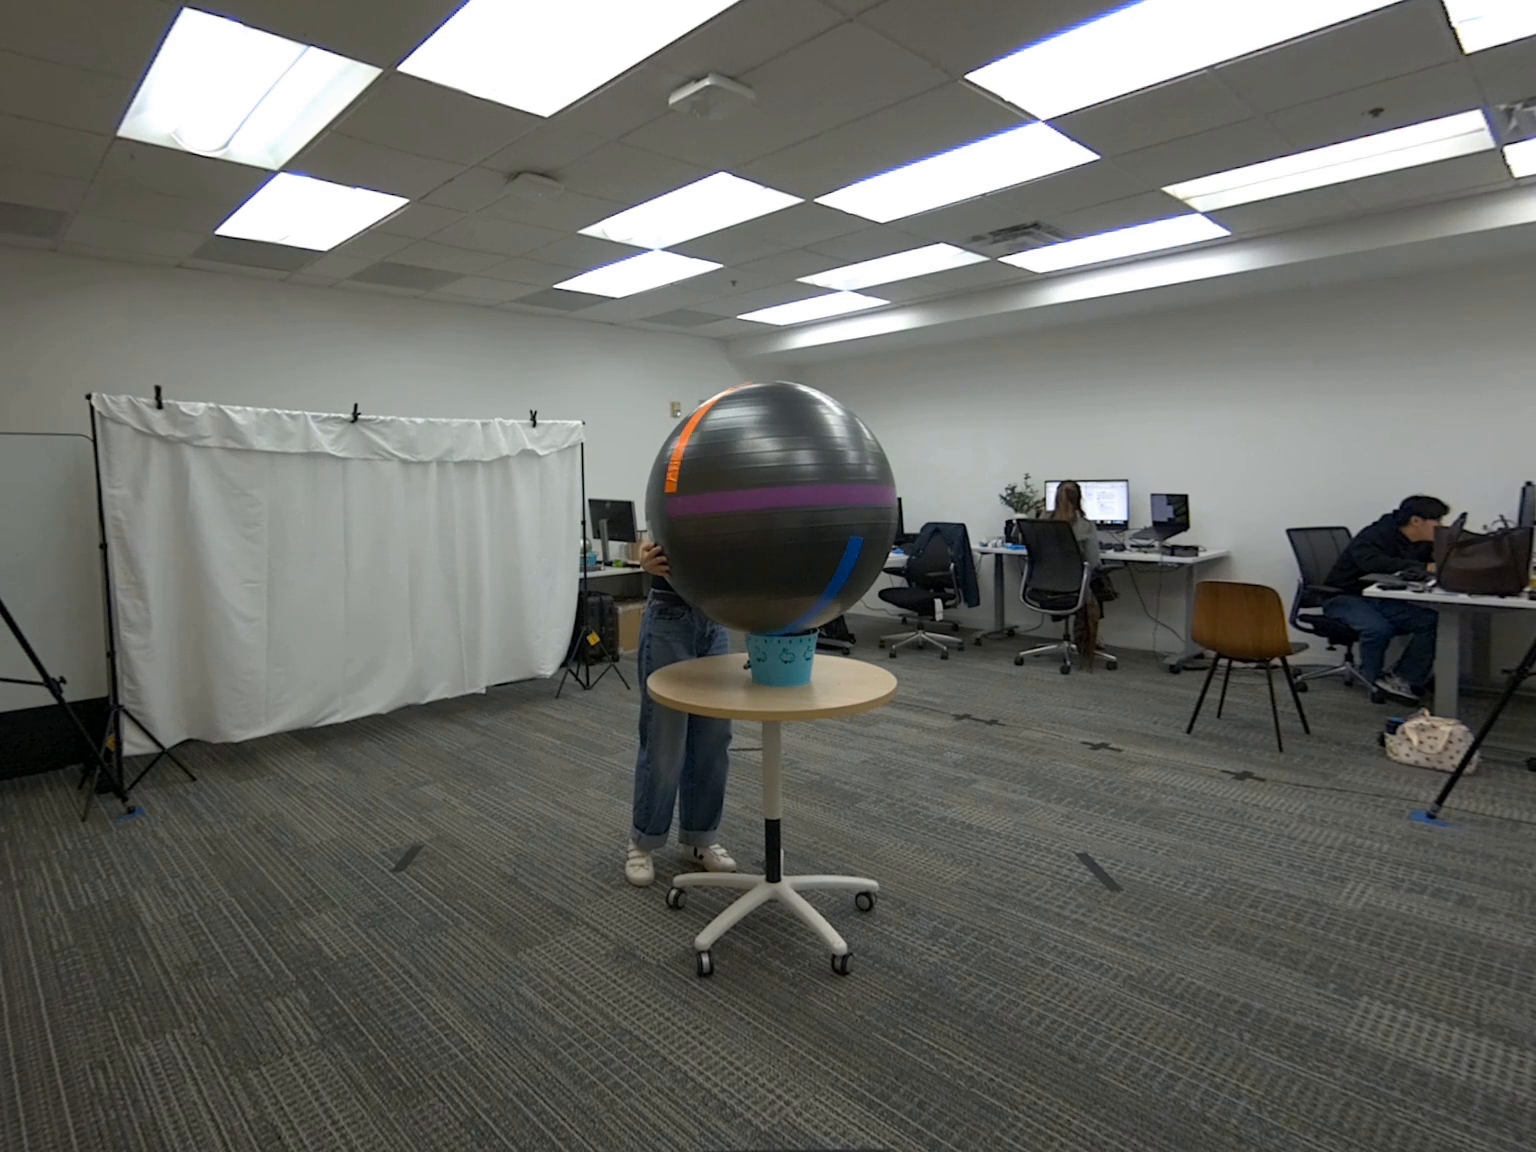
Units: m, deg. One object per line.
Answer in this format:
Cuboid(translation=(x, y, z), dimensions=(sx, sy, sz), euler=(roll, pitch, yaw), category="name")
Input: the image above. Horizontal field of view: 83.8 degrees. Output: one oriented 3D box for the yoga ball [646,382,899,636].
Cuboid(translation=(0.011, -0.199, 2.579), dimensions=(0.757, 0.755, 0.762), euler=(-1, 5, -2), category="yoga ball")
